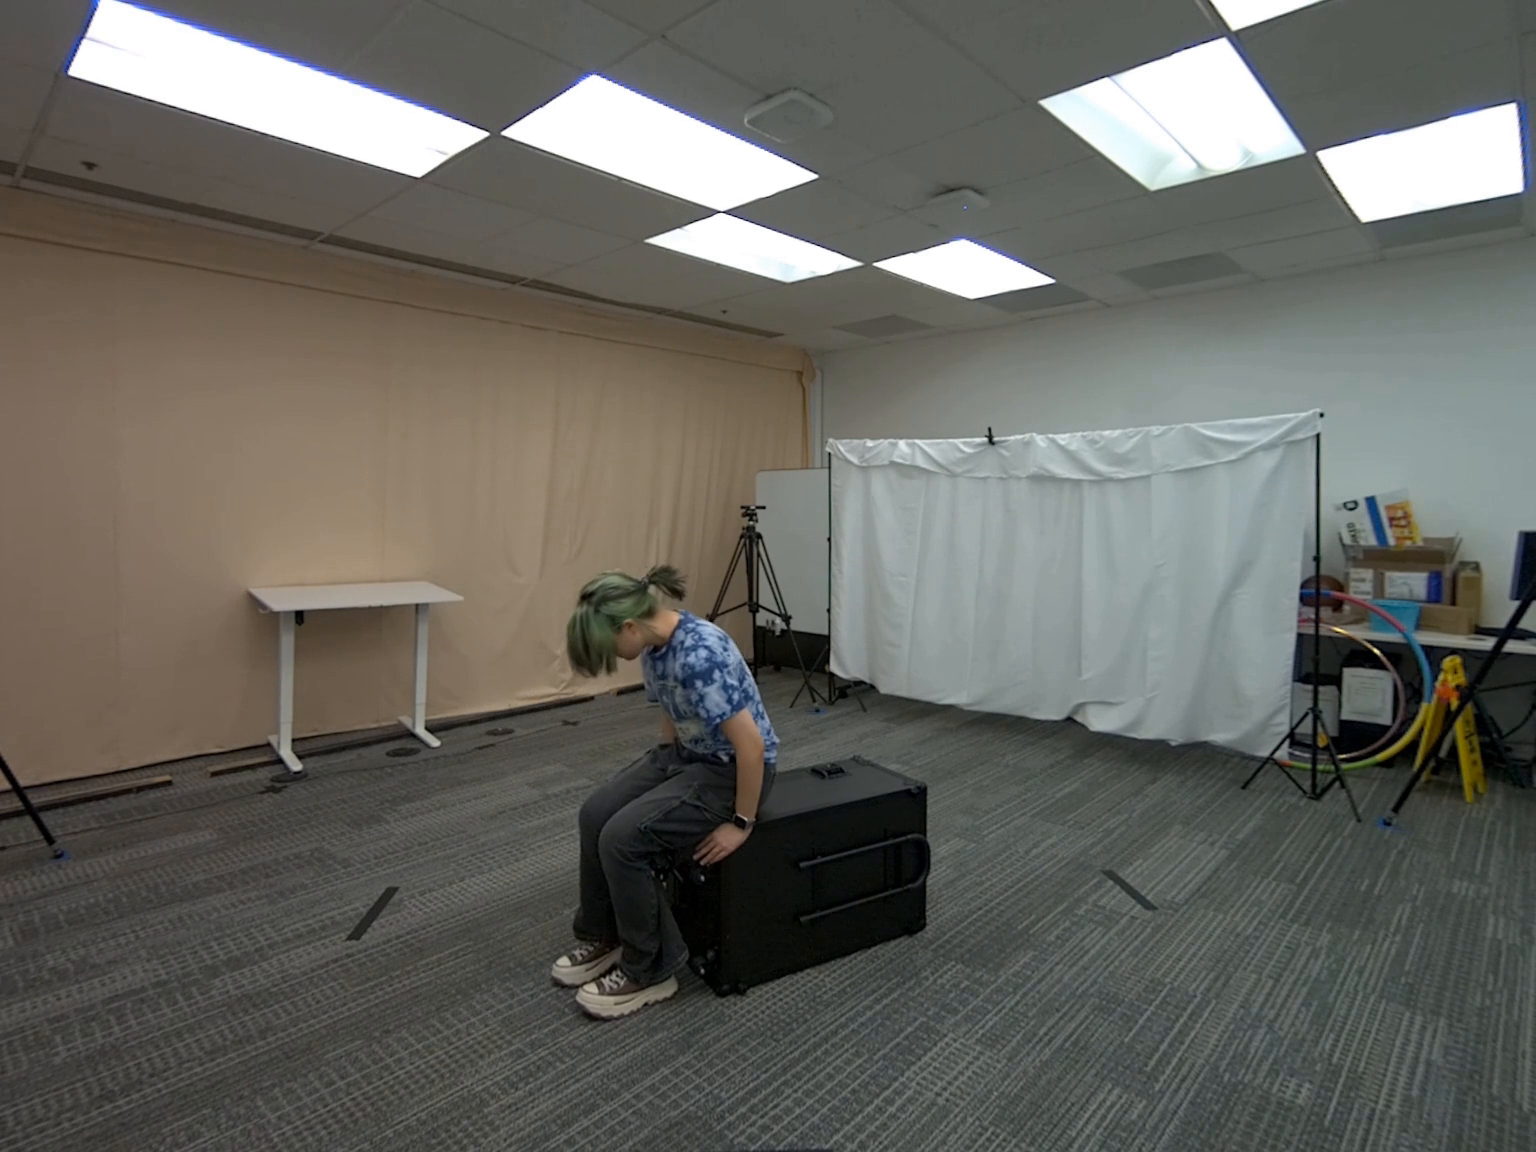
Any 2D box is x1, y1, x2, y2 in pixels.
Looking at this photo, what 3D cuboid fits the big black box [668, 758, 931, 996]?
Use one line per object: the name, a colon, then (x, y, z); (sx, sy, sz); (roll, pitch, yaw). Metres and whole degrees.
big black box: (0.081, 0.928, 2.686); (0.839, 0.520, 0.408); (-4, 4, -30)
